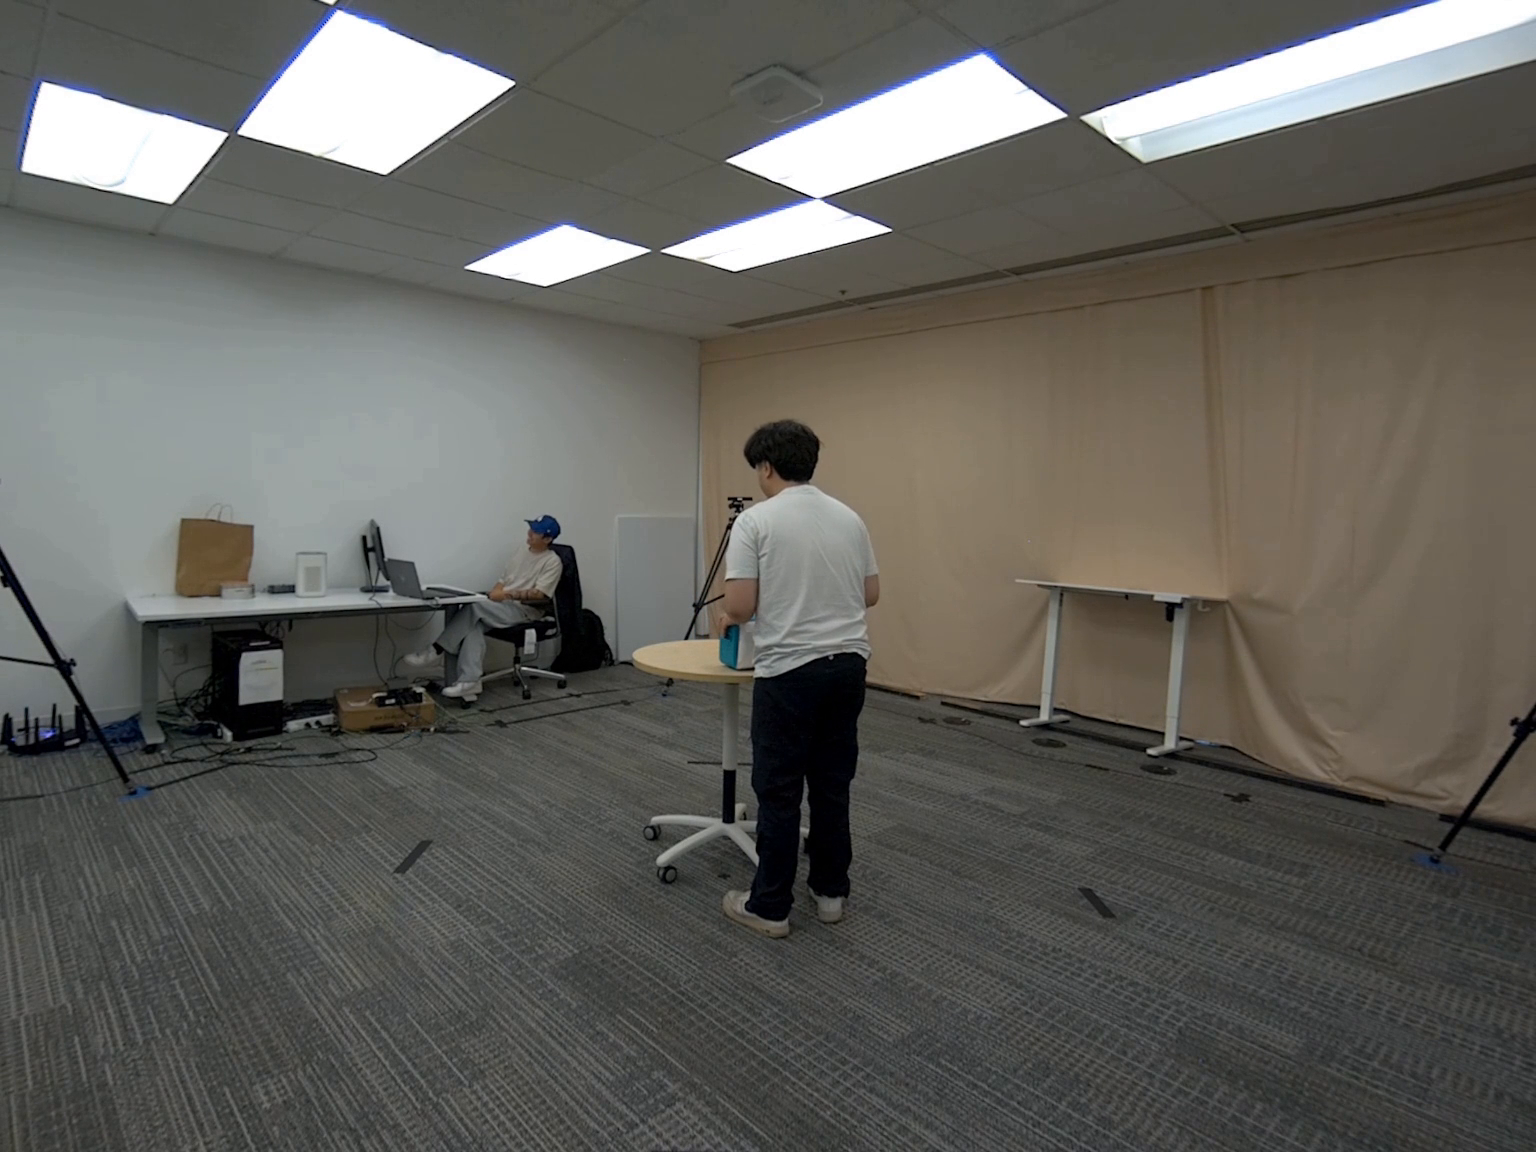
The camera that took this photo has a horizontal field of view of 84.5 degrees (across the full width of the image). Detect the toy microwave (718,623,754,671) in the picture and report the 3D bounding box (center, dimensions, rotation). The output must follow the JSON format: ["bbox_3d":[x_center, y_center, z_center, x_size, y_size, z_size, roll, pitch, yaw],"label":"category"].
[{"bbox_3d":[-0.025,0.237,3.018,0.281,0.184,0.155,-1,4,-27],"label":"toy microwave"}]
